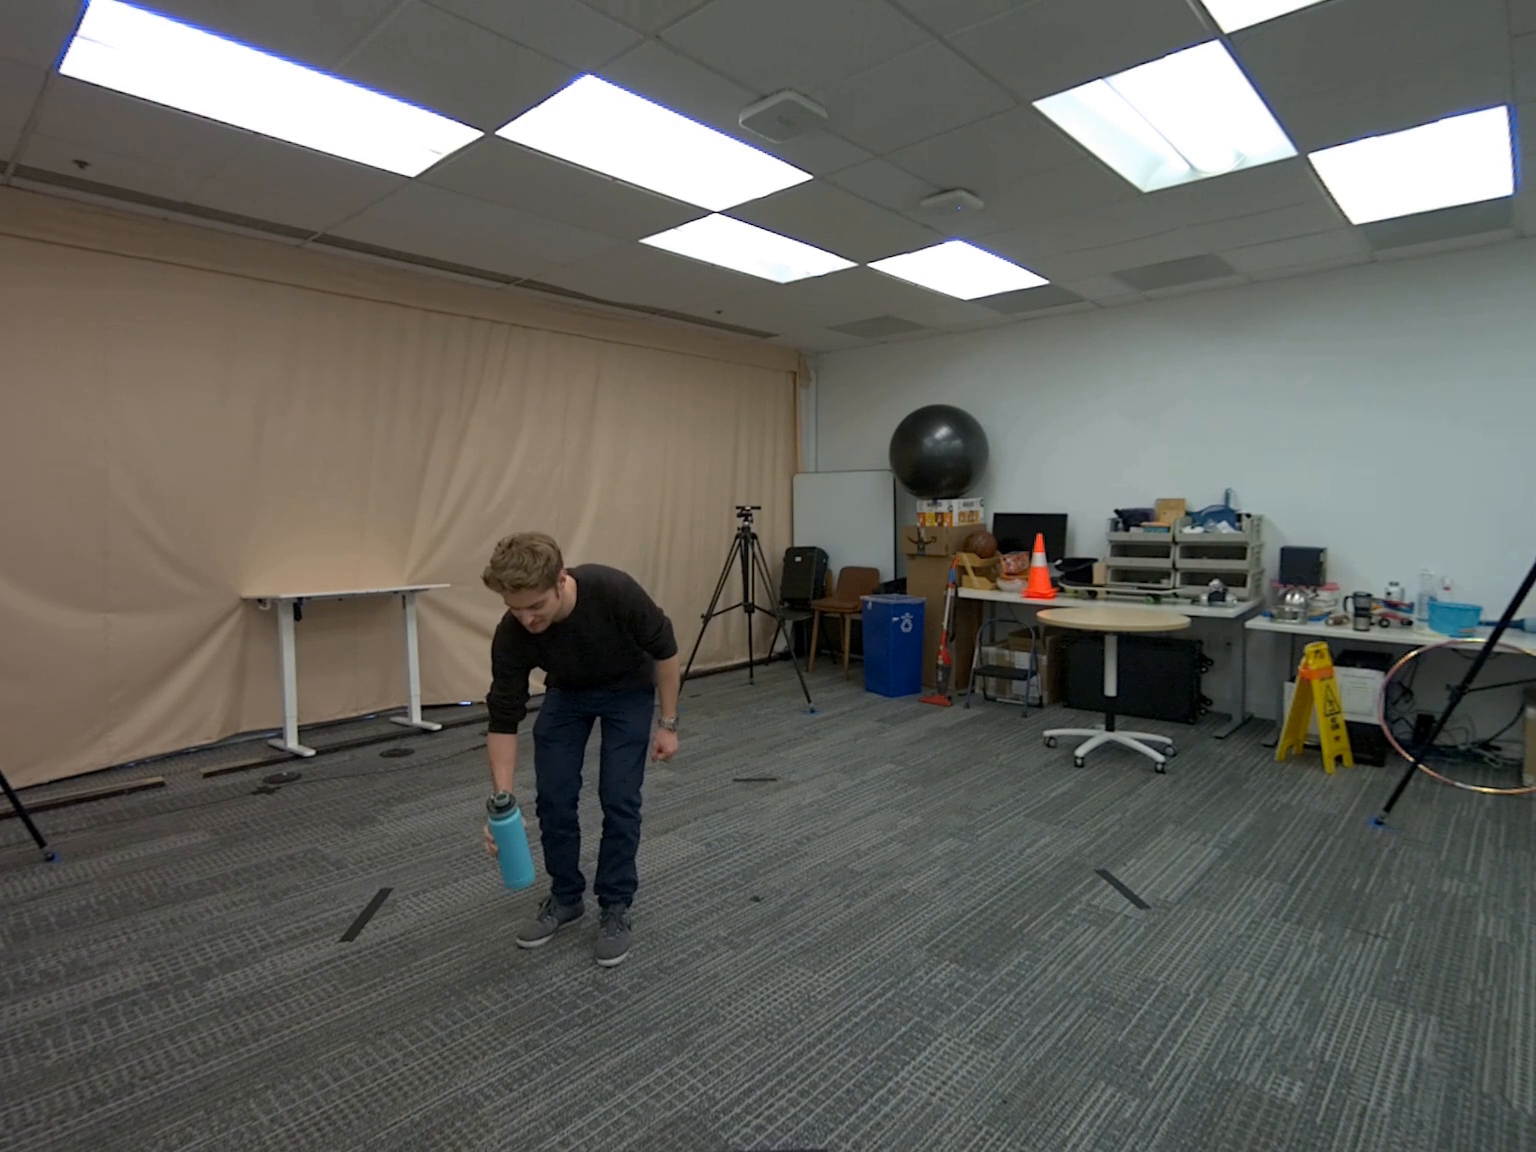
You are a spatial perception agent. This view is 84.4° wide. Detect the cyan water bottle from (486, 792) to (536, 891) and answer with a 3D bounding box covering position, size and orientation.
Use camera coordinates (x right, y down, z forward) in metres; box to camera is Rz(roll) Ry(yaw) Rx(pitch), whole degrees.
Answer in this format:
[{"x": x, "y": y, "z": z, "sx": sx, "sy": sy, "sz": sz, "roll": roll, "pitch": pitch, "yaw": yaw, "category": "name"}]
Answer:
[{"x": -0.718, "y": 0.720, "z": 2.328, "sx": 0.092, "sy": 0.280, "sz": 0.093, "roll": -6, "pitch": 18, "yaw": 0, "category": "cyan water bottle"}]
